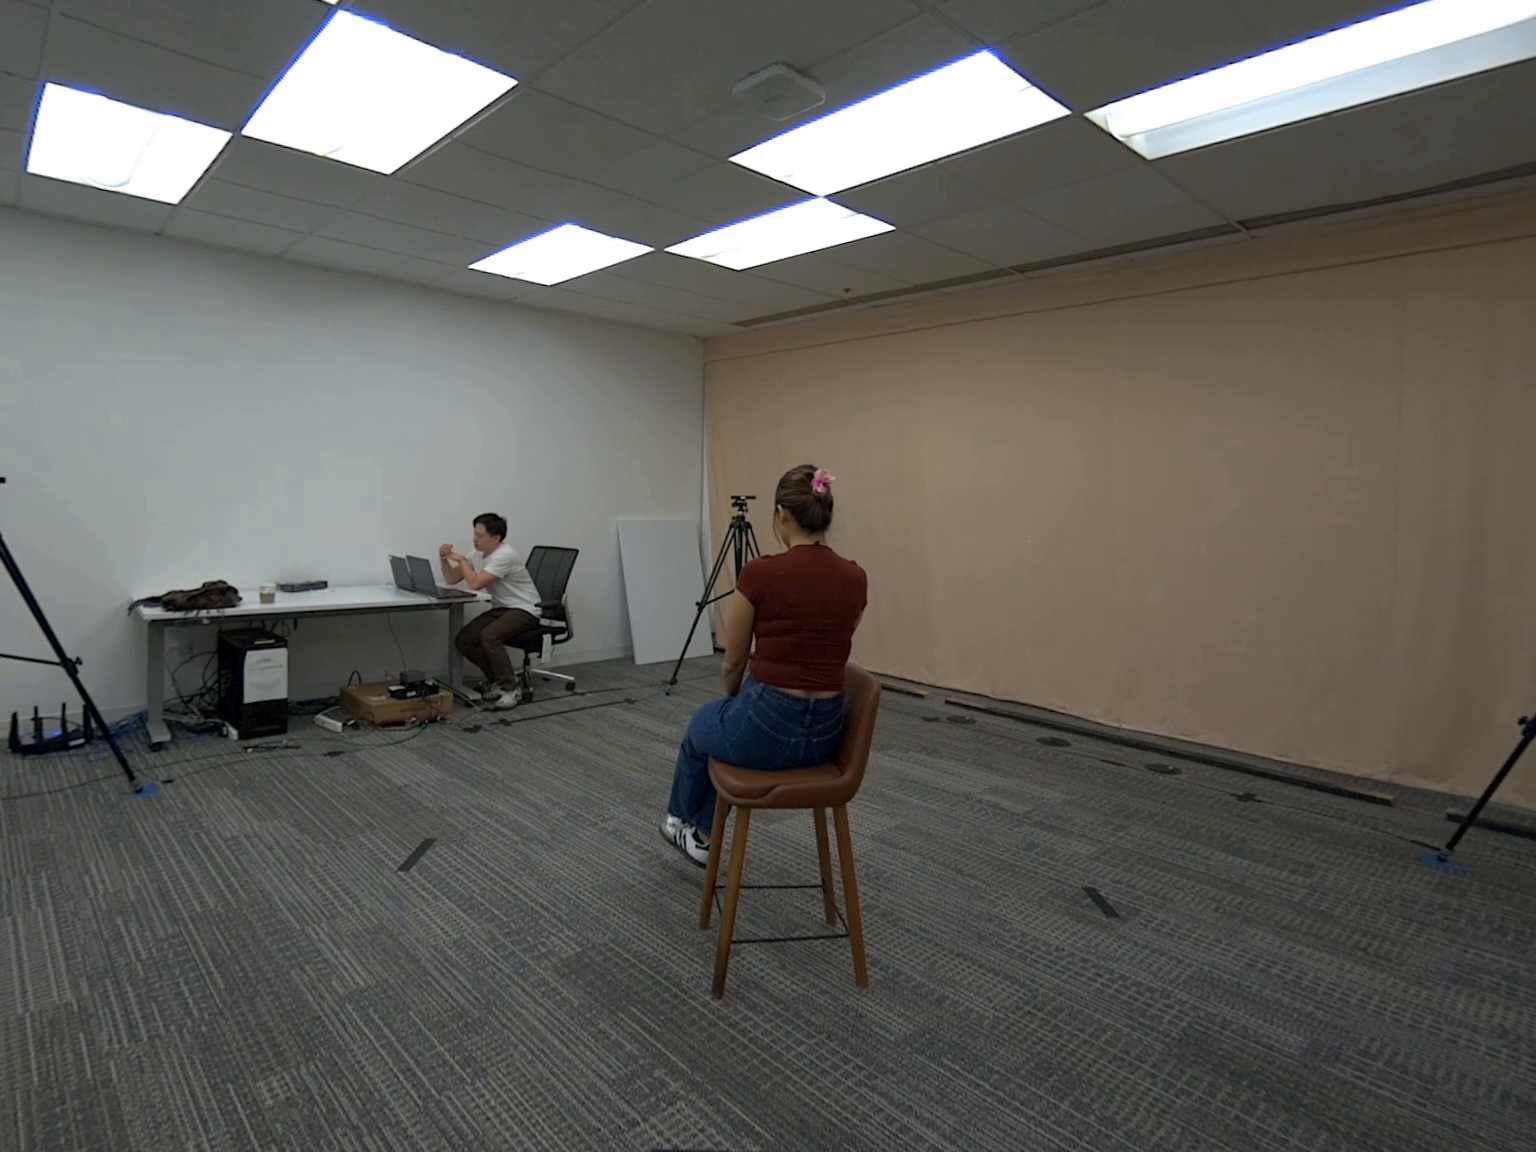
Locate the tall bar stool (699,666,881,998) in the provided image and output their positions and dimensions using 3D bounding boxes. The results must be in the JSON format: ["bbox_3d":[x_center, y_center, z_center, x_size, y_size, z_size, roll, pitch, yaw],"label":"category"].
[{"bbox_3d":[0.052,0.729,2.529,0.464,0.887,0.462,2,4,-11],"label":"tall bar stool"}]
